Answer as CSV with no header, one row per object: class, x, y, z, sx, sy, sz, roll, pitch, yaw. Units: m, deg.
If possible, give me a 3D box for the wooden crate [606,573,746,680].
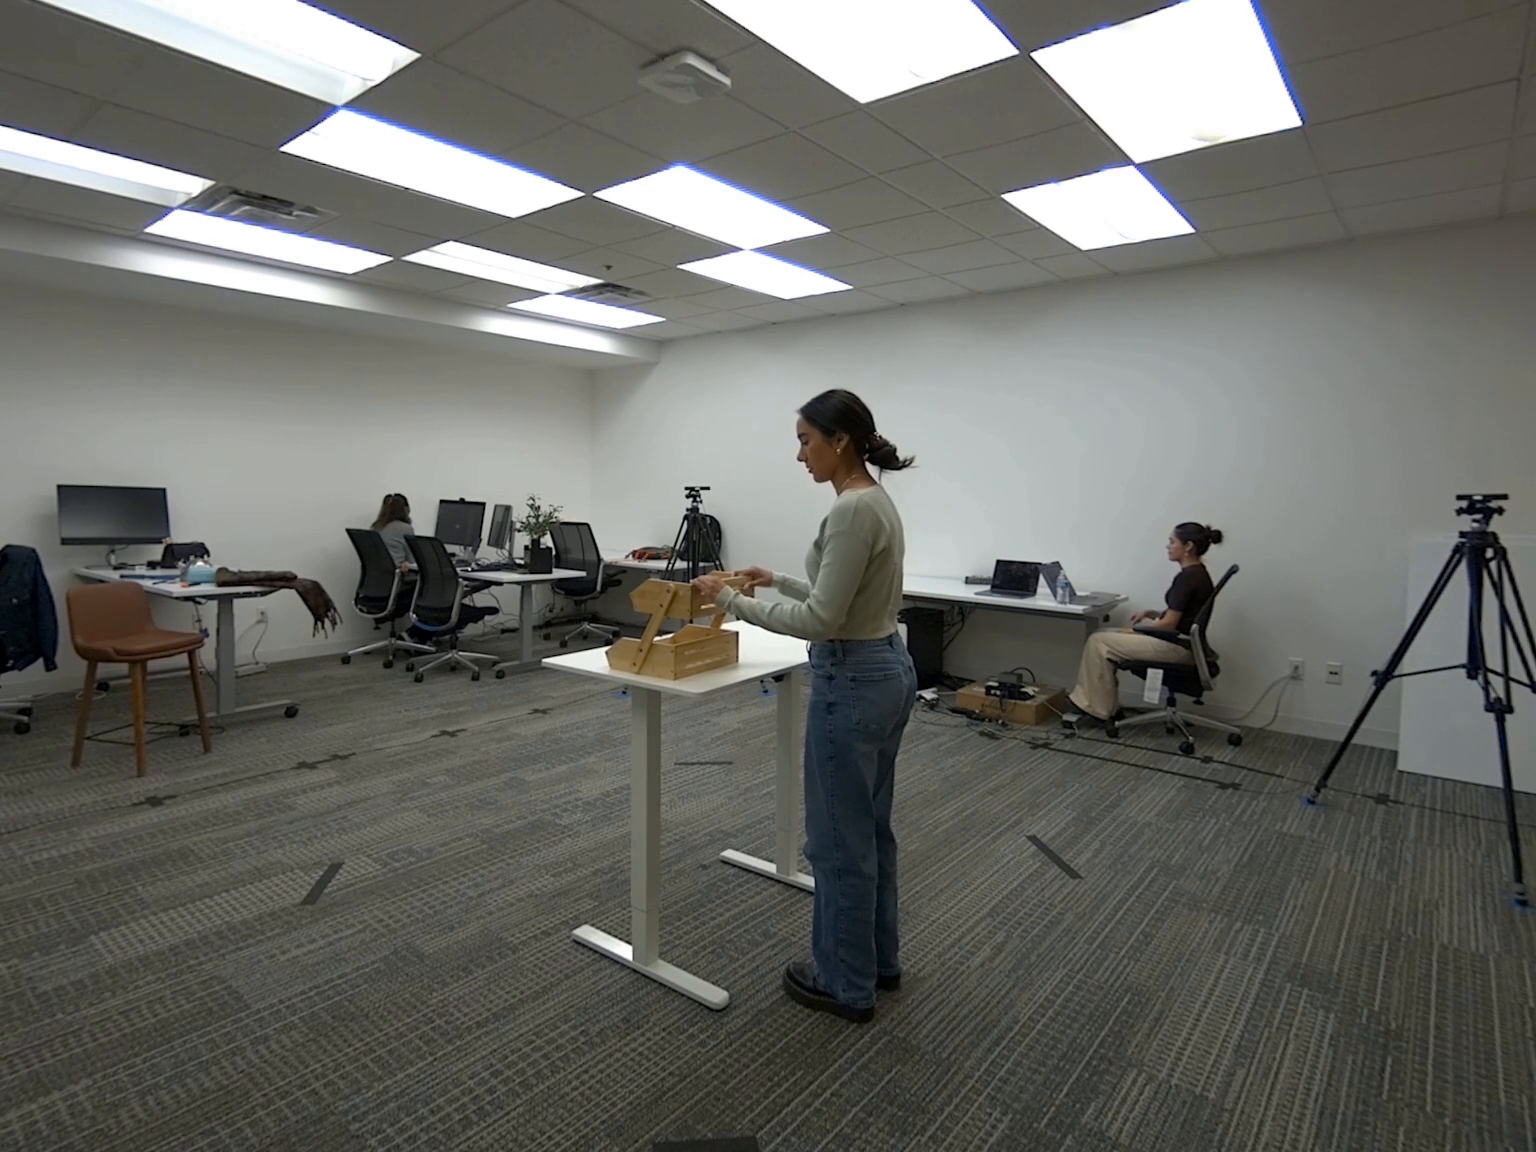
wooden crate,-0.255,0.125,2.404,0.311,0.272,0.316,4,7,33
